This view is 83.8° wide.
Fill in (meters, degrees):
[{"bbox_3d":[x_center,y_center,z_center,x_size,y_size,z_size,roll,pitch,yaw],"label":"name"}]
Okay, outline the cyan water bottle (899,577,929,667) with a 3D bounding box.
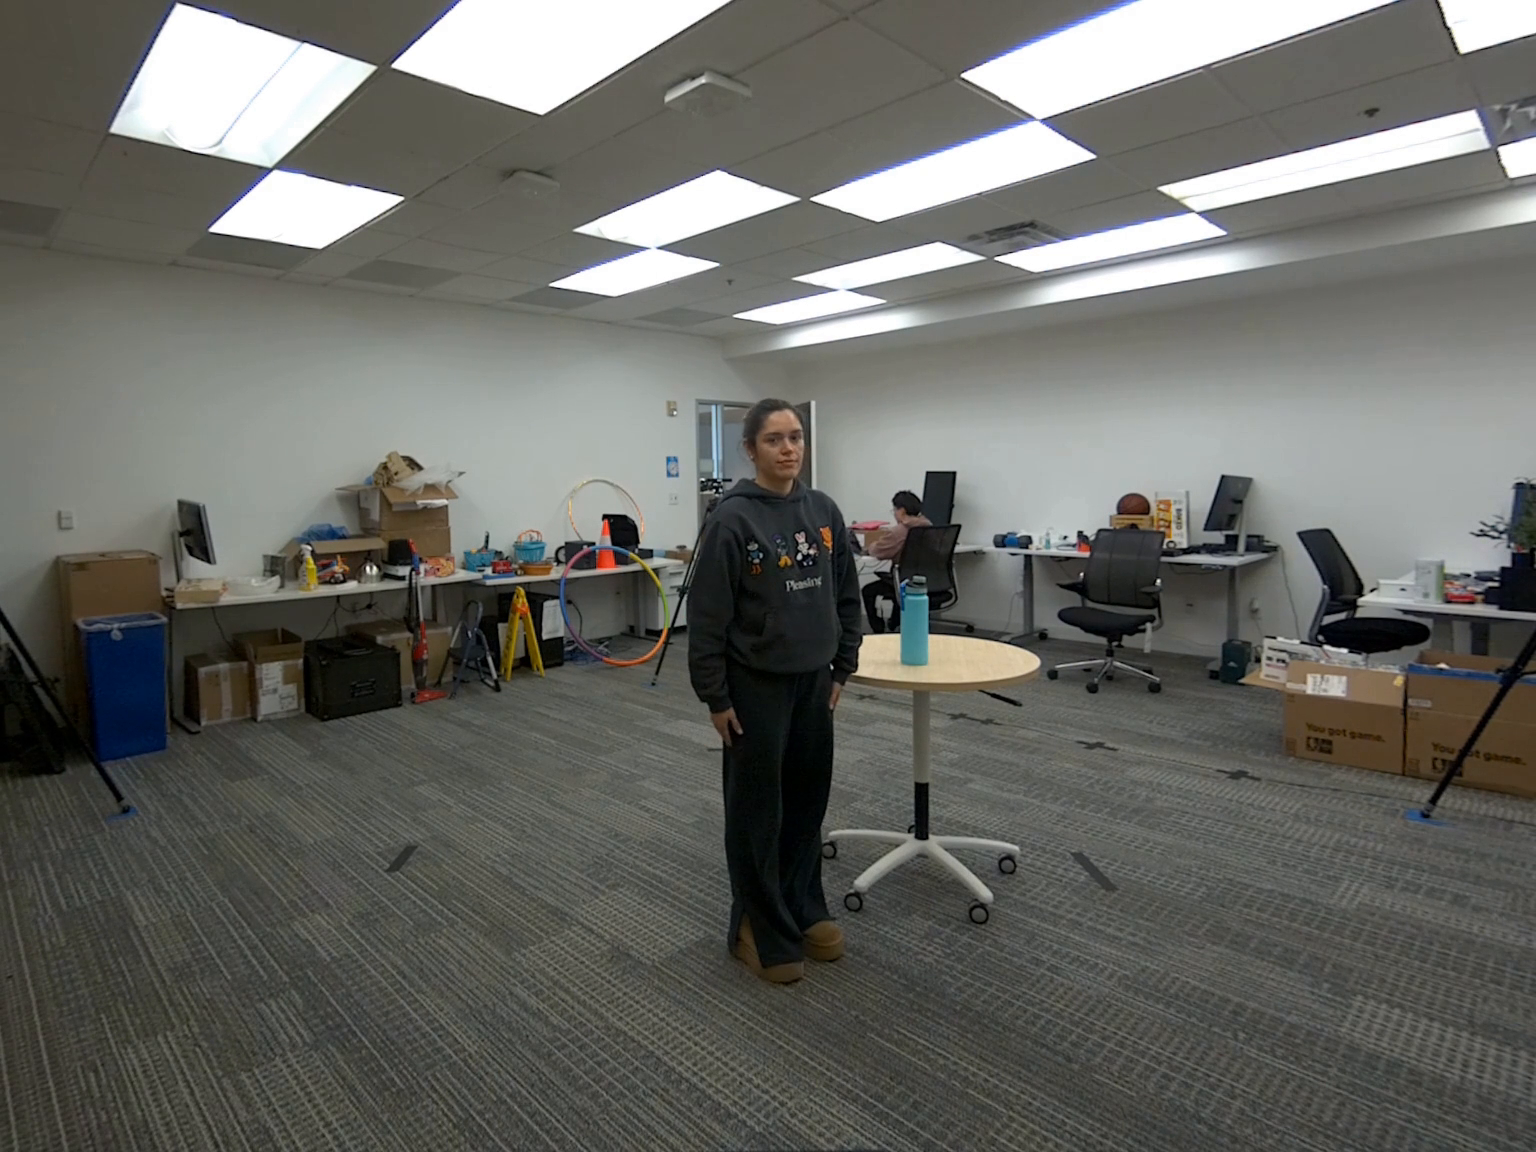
[{"bbox_3d":[0.486,0.149,2.793,0.092,0.282,0.093,-1,5,-2],"label":"cyan water bottle"}]
